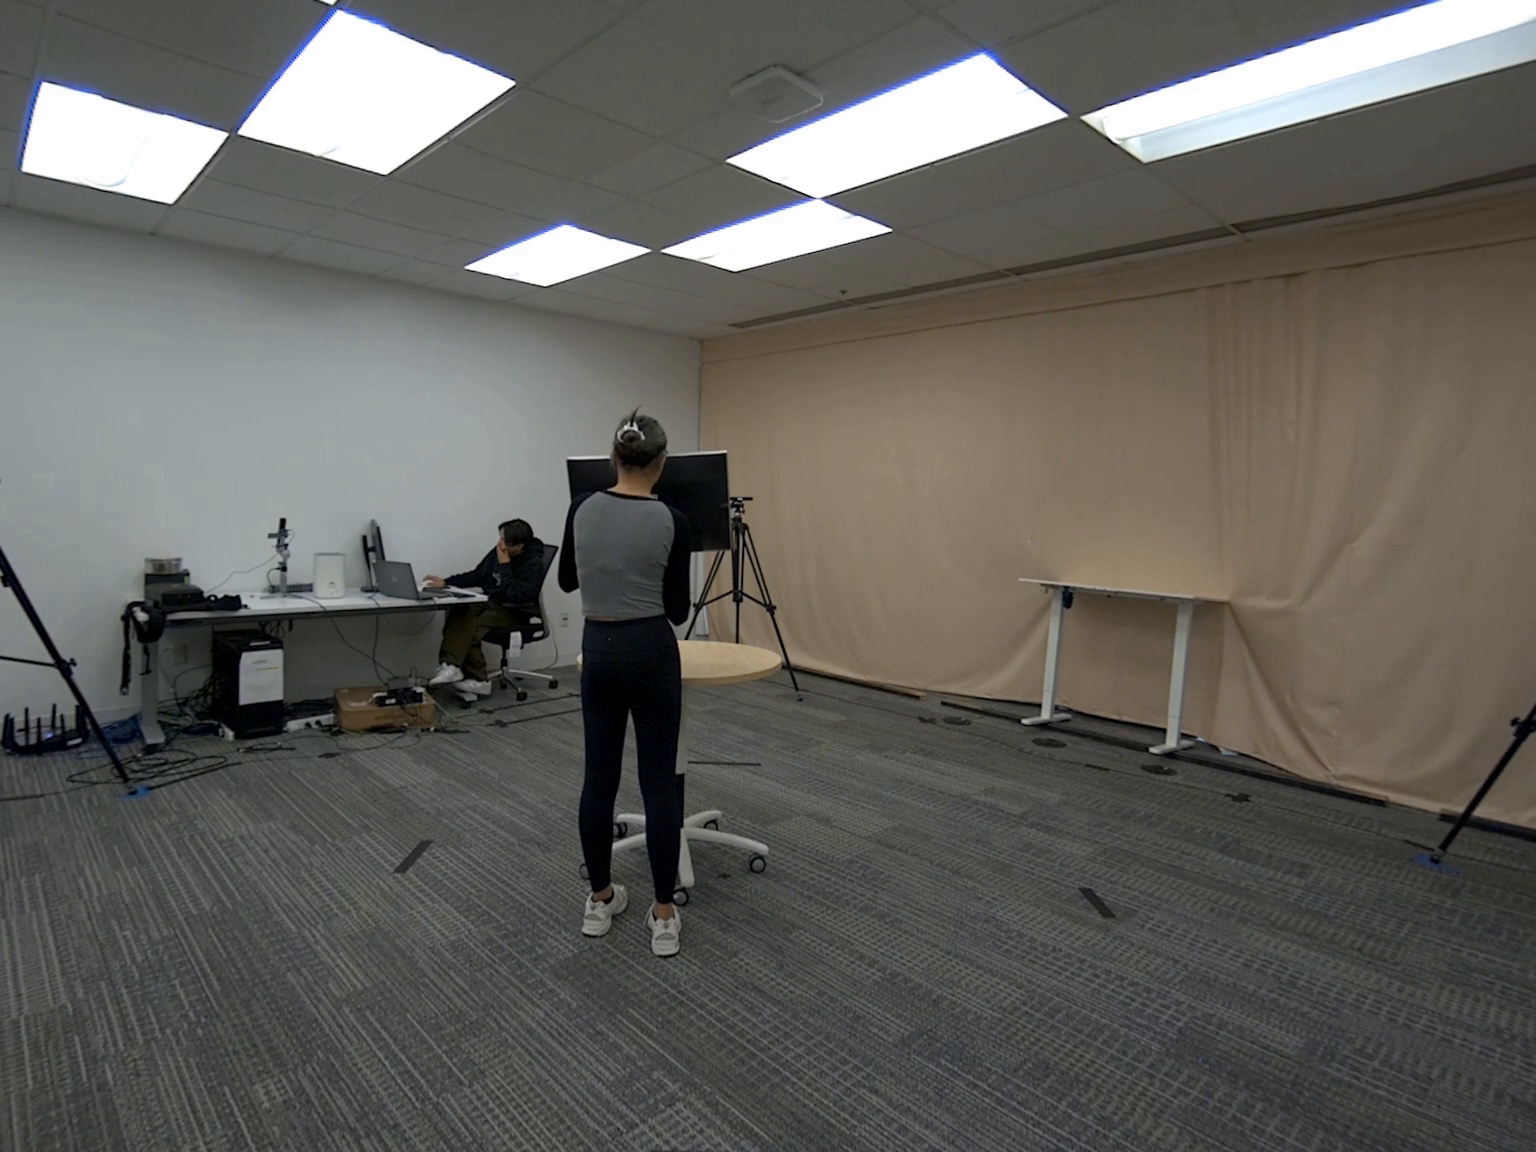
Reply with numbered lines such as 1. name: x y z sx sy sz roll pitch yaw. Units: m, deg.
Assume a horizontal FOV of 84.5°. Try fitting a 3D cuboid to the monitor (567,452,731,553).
1. monitor: -0.404 -0.155 2.935 0.539 0.519 0.188 -2 8 0
